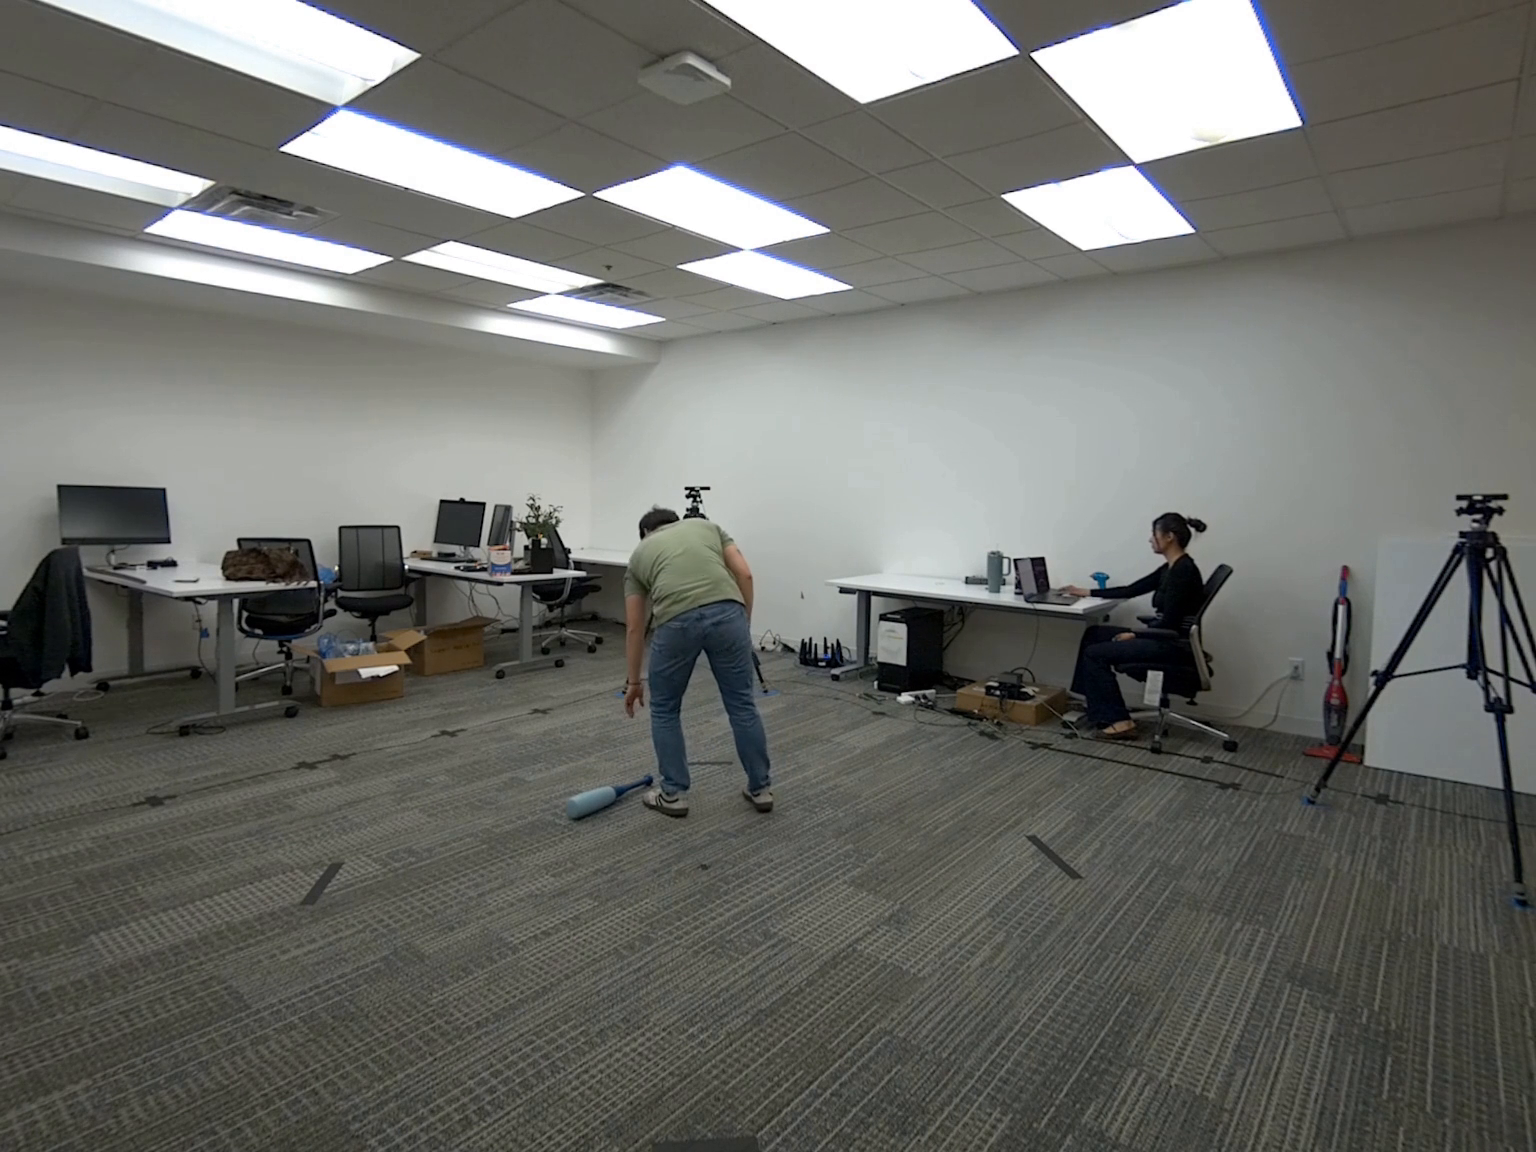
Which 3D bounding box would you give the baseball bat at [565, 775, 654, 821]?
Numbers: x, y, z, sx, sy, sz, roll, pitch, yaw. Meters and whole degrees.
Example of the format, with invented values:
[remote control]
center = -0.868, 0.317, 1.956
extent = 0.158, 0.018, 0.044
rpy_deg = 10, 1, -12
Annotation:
[baseball bat]
center = -0.695, 0.958, 3.756
extent = 0.092, 0.089, 0.528
rpy_deg = 3, 4, 32
